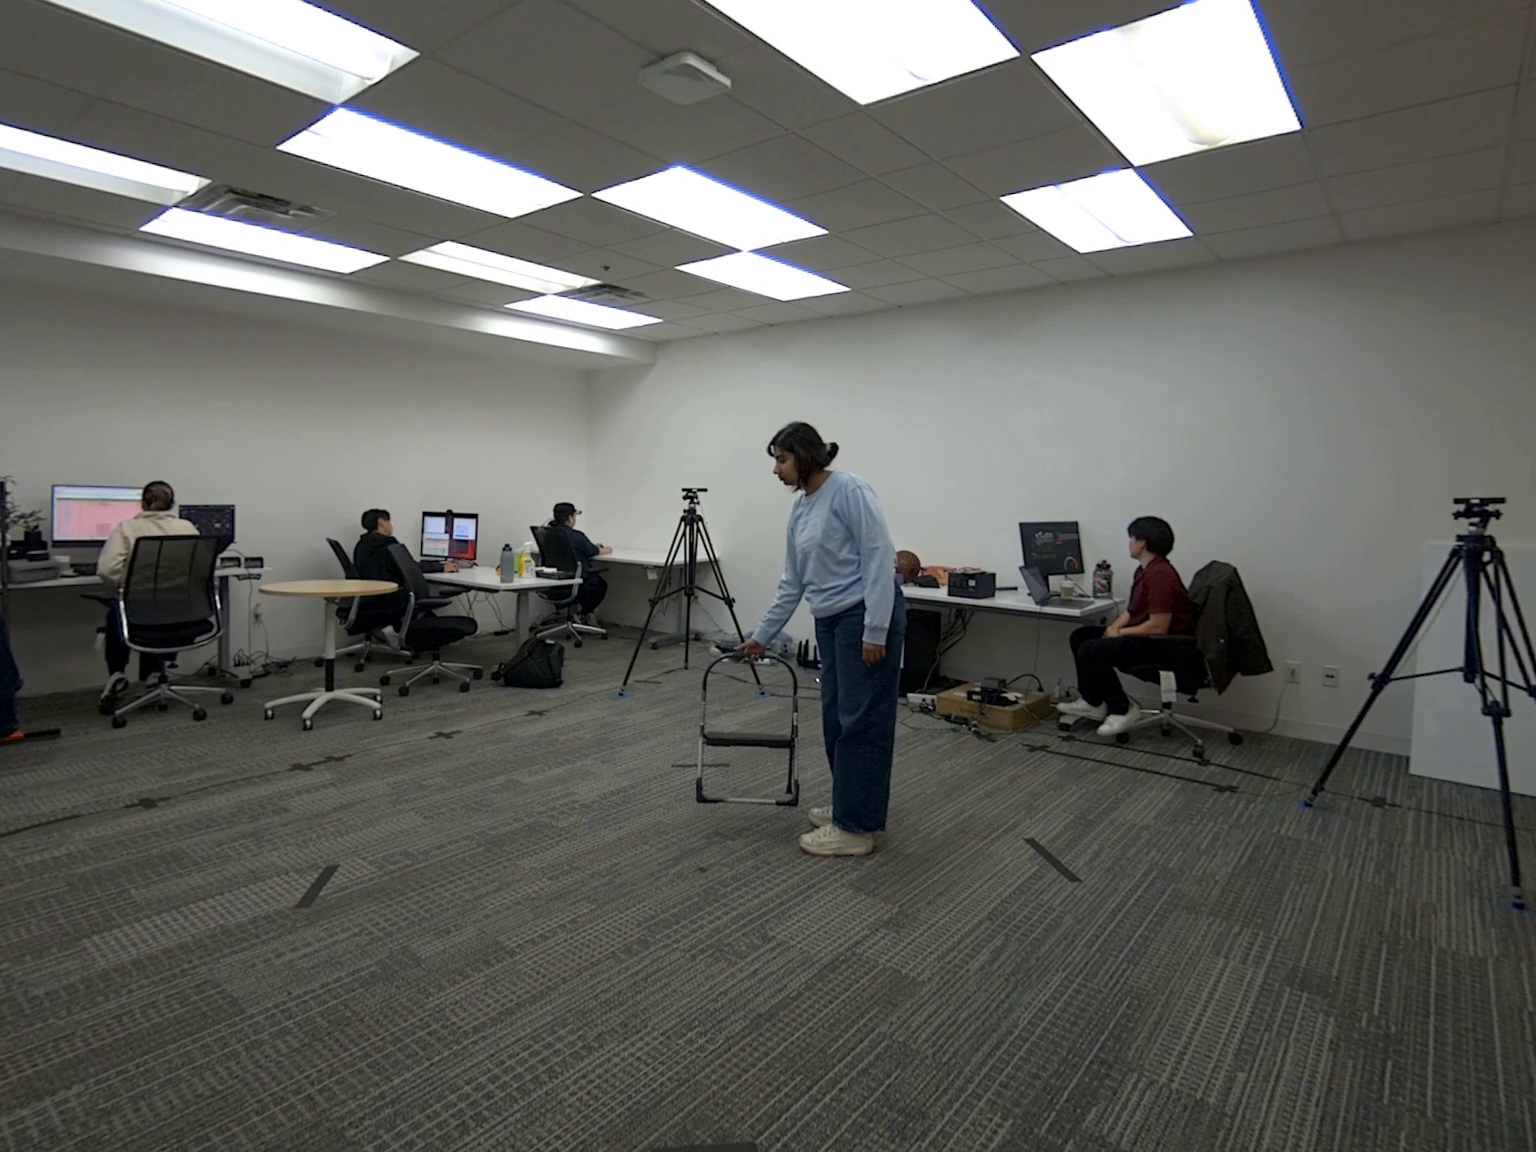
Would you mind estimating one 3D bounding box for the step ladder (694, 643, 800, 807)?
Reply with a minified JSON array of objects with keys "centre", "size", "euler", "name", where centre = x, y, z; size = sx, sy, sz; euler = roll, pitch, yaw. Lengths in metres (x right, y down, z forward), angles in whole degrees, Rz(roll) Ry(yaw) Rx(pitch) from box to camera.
[{"centre":[-0.095,0.642,3.644],"size":[0.430,0.610,0.348],"euler":[1,-6,-2],"name":"step ladder"}]
